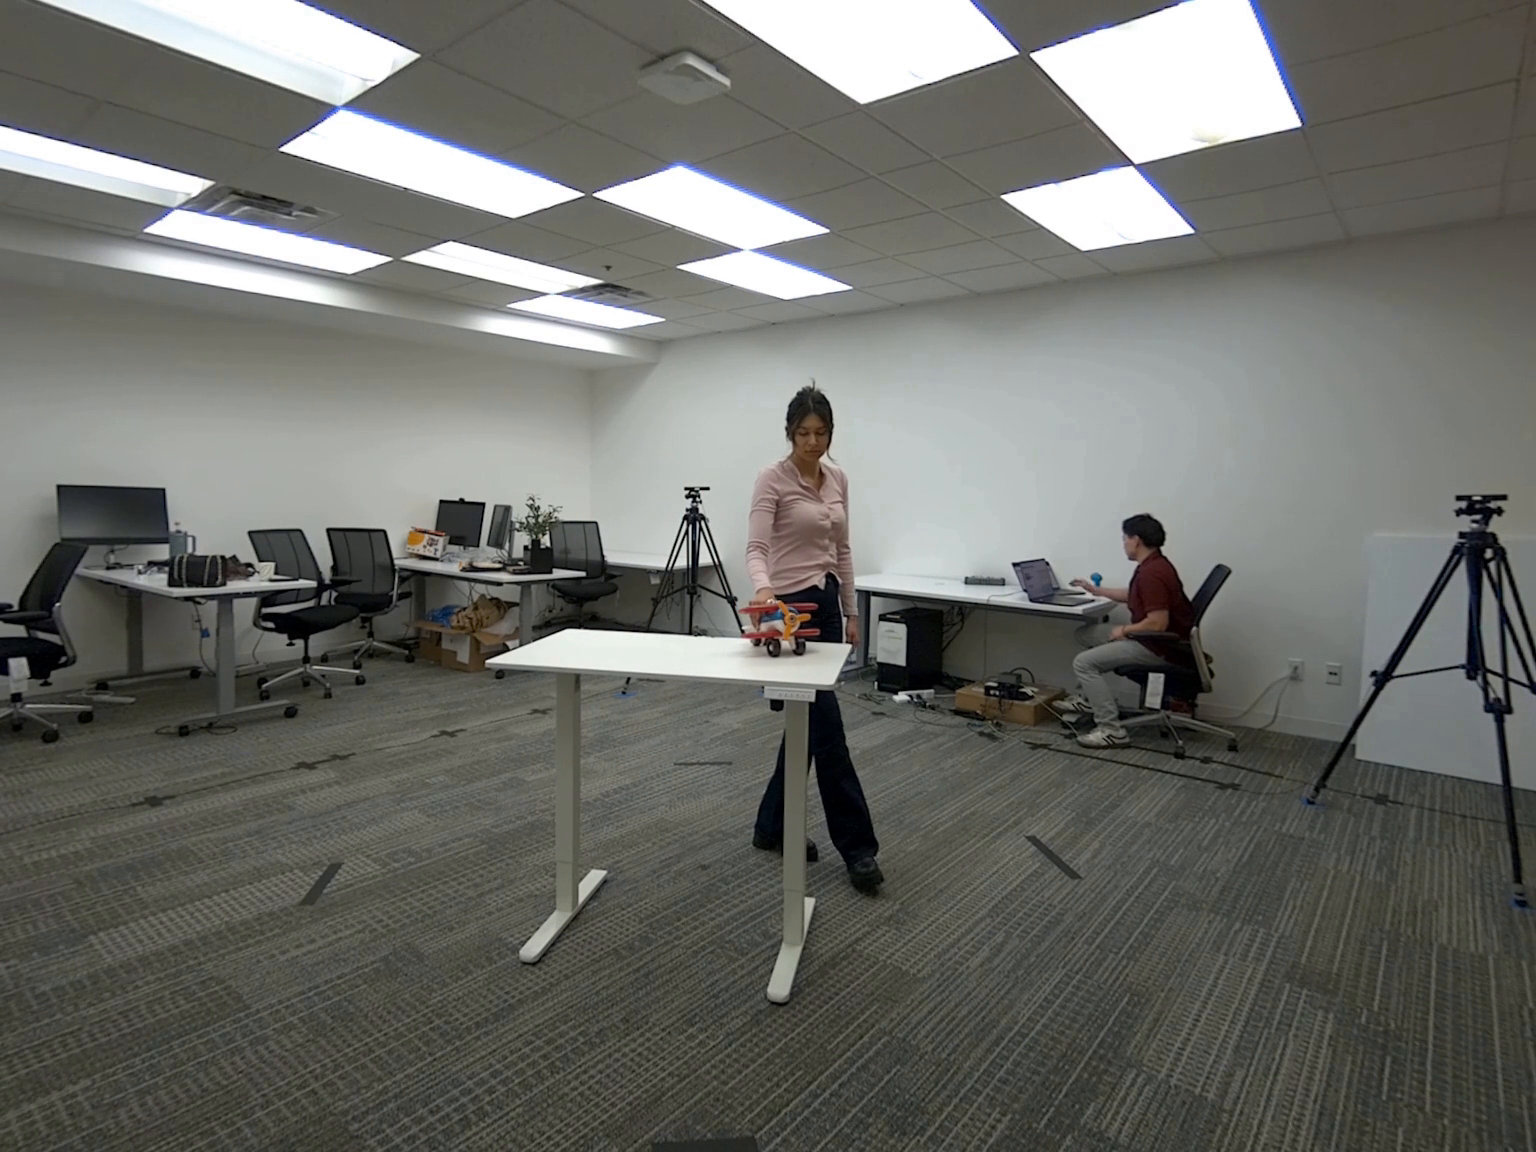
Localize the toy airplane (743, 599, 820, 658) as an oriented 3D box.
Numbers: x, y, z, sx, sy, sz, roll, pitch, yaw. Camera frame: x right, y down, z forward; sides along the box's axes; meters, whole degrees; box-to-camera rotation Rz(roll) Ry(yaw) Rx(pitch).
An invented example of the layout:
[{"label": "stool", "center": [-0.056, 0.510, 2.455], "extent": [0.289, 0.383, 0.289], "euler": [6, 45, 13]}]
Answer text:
[{"label": "toy airplane", "center": [0.001, 0.156, 2.656], "extent": [0.268, 0.156, 0.243], "euler": [5, 5, 40]}]
